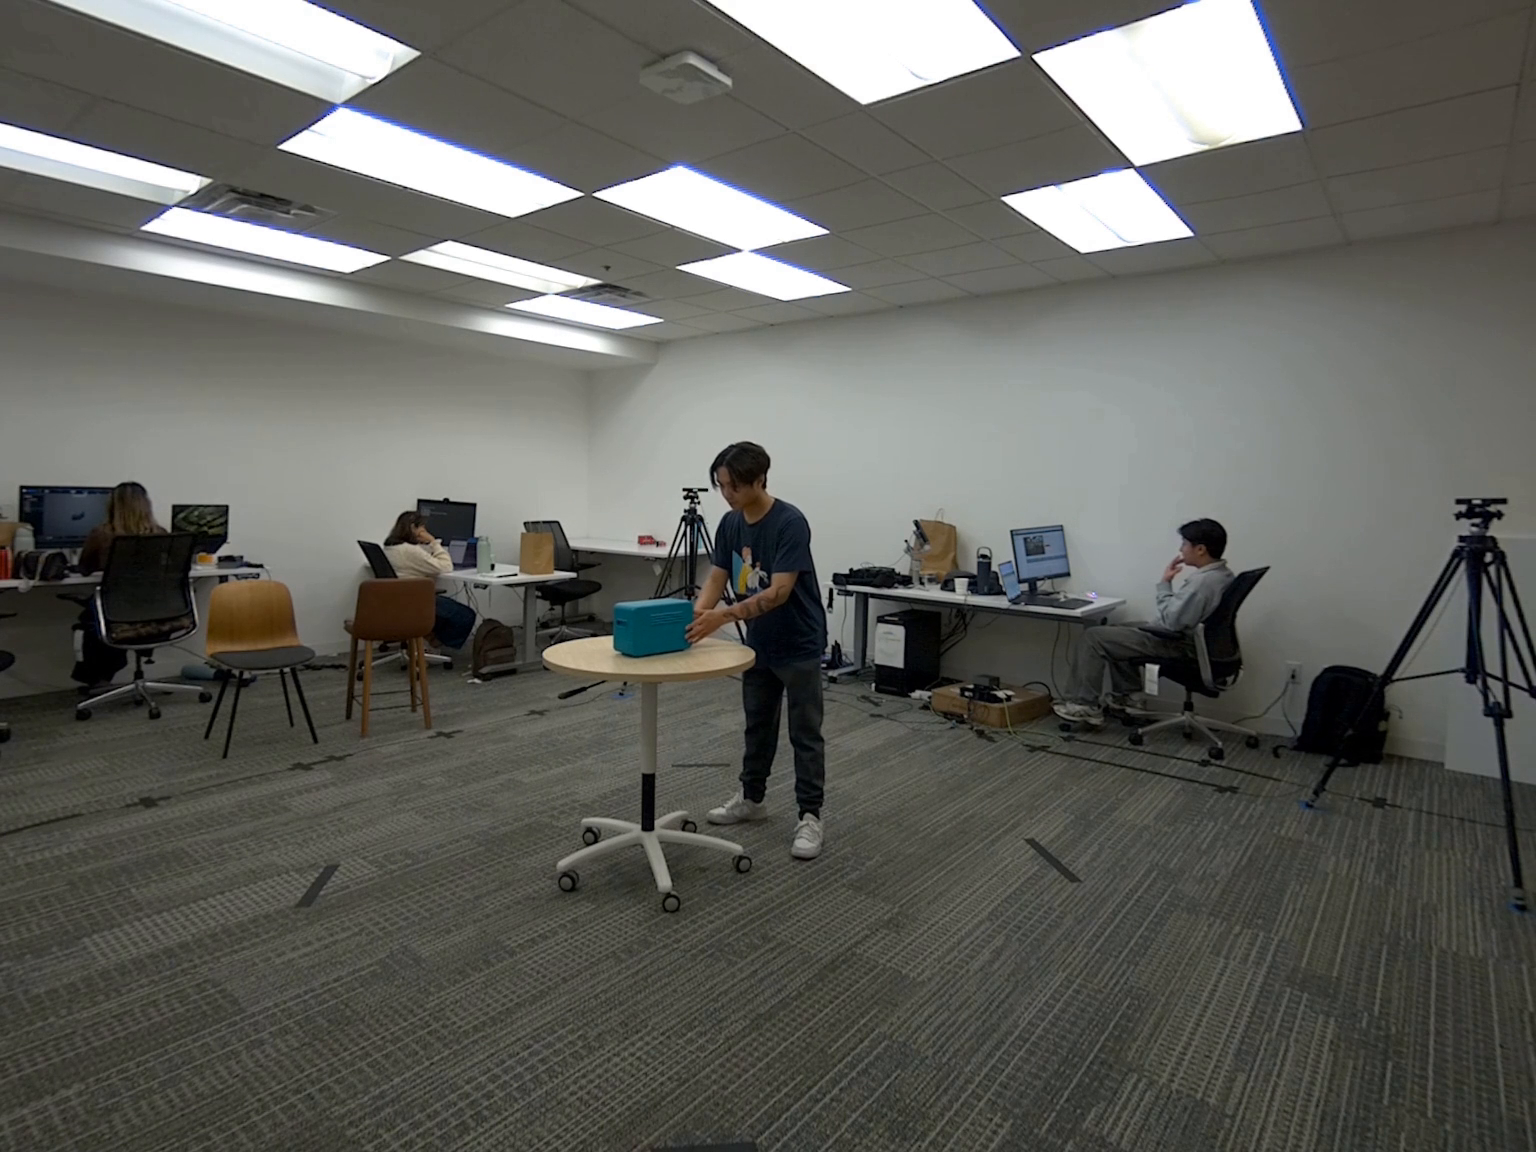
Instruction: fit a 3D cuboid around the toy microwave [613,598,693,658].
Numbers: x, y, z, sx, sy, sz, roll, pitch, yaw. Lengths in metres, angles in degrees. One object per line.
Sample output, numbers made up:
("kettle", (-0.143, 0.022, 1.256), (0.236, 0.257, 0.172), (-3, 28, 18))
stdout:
("toy microwave", (-0.428, 0.179, 3.088), (0.277, 0.183, 0.157), (-3, 6, -44))
